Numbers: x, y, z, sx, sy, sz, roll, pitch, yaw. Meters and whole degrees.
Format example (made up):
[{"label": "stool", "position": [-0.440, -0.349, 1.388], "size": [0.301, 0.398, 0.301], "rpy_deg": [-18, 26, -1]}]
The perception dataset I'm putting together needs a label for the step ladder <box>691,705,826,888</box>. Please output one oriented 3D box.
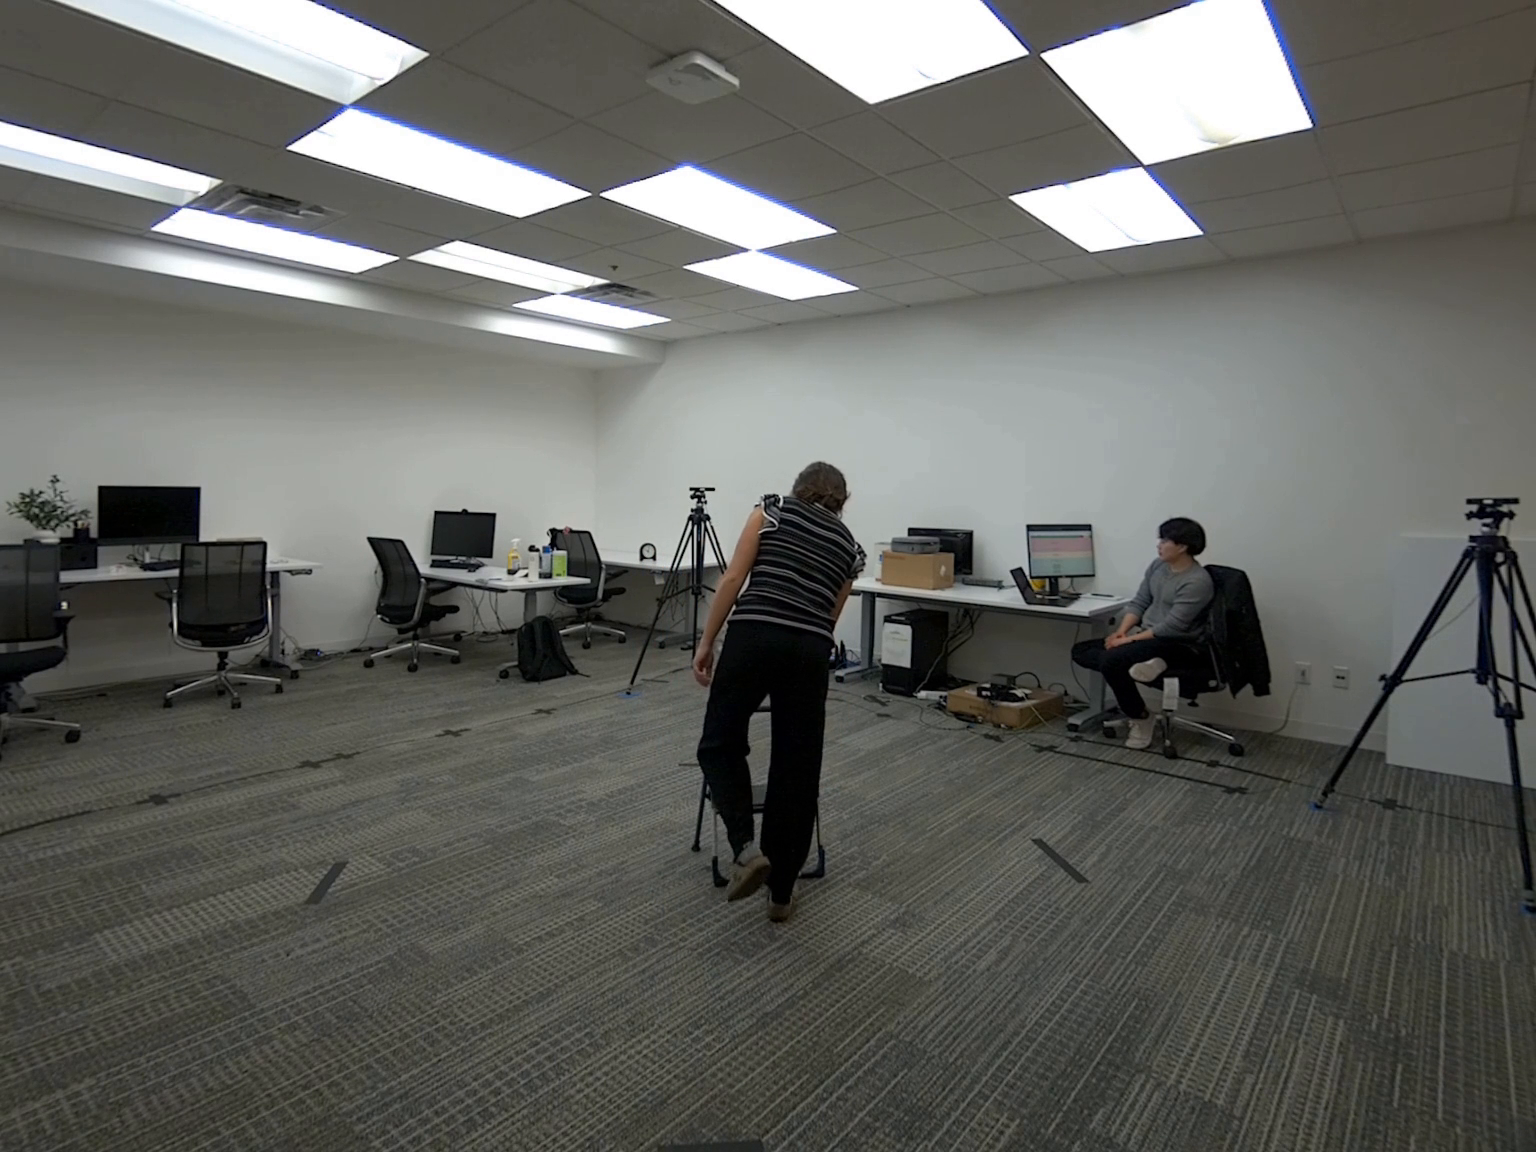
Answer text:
[{"label": "step ladder", "position": [-0.043, 0.760, 3.156], "size": [0.423, 0.604, 0.356], "rpy_deg": [0, 4, -17]}]
